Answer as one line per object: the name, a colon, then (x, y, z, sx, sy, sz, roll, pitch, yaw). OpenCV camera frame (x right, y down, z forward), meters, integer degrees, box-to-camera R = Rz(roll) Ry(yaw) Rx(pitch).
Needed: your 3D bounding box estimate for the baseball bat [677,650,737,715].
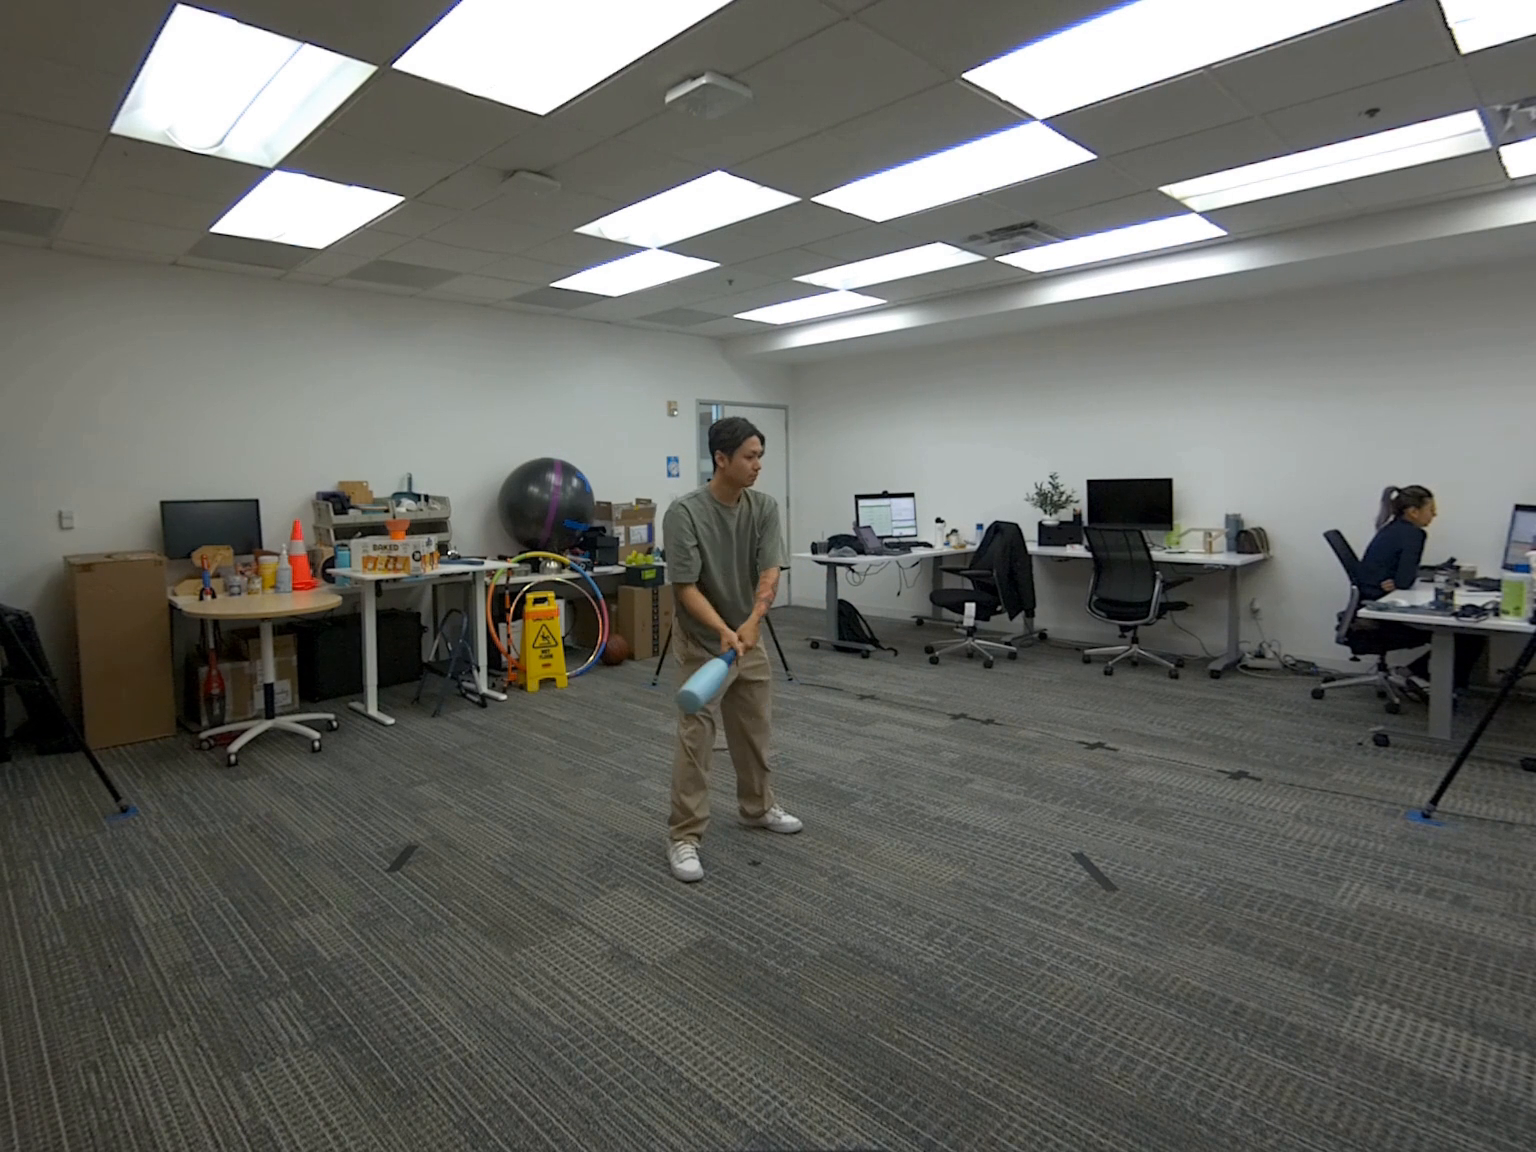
baseball bat: (-0.164, 0.298, 2.796, 0.091, 0.088, 0.540, 1, 17, 19)
